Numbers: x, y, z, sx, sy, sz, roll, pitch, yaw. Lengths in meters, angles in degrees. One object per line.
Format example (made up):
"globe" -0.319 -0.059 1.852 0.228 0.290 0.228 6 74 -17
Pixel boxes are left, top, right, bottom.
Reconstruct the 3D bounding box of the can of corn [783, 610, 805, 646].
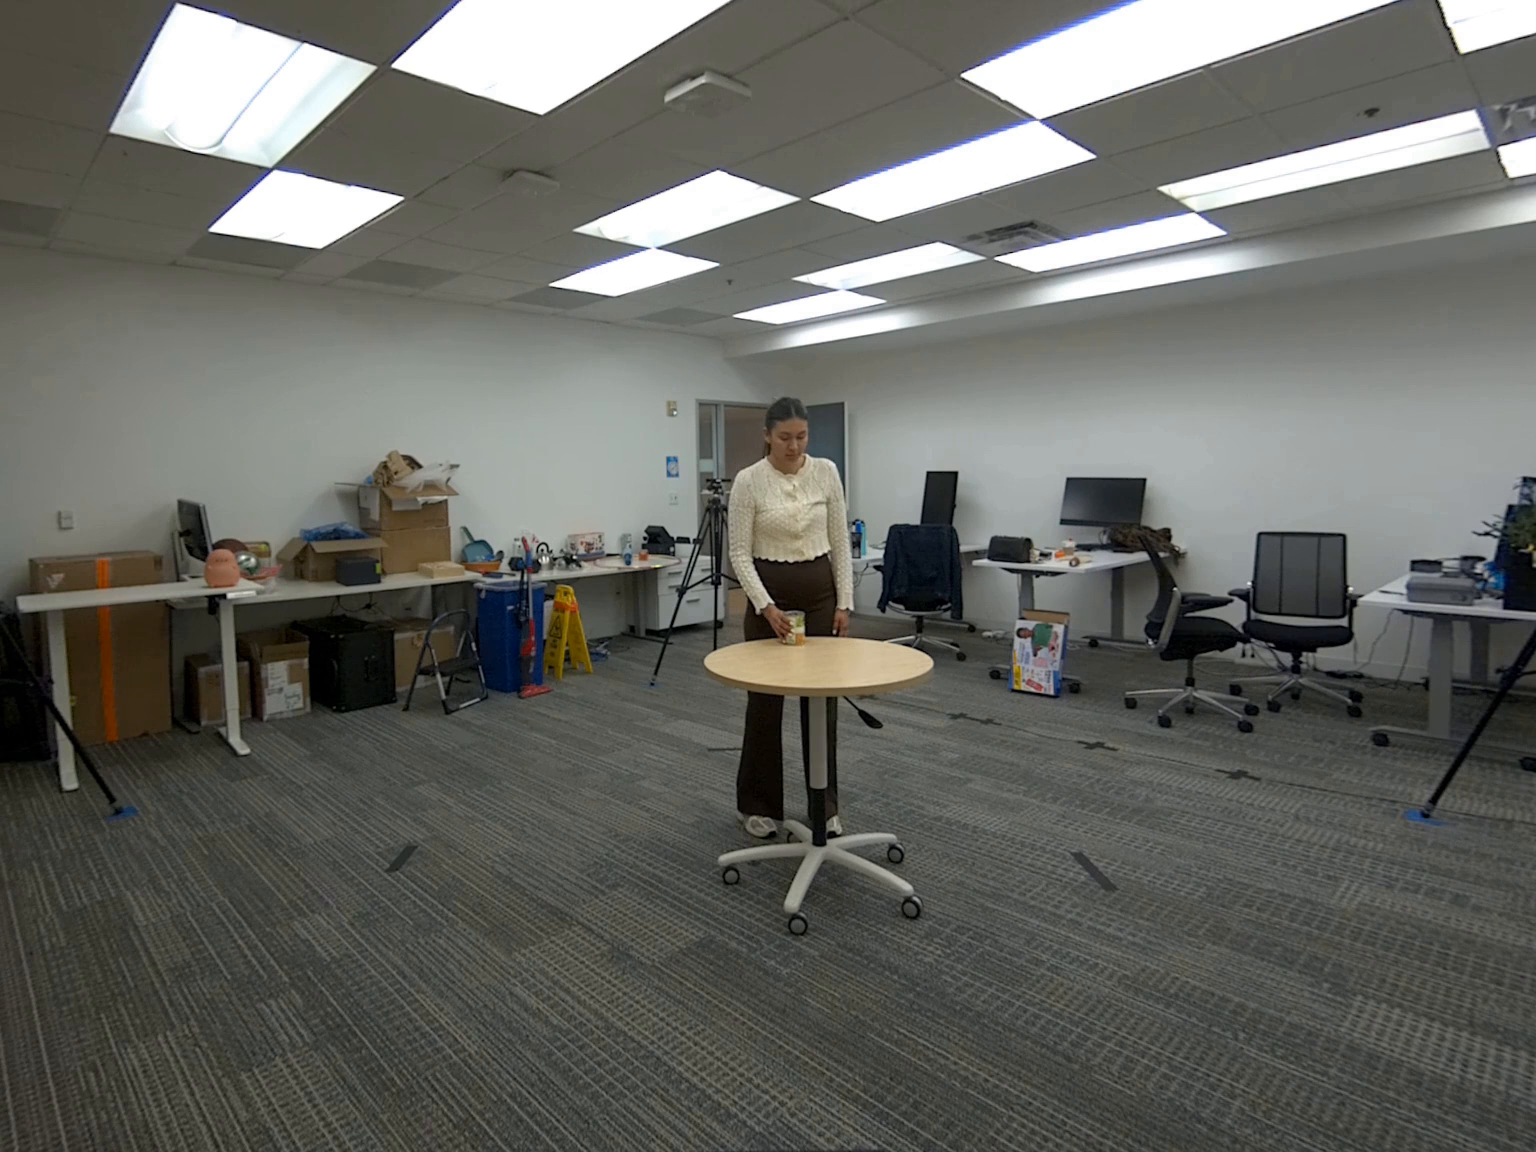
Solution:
"can of corn" 0.091 0.191 3.134 0.074 0.111 0.074 -3 2 -2
